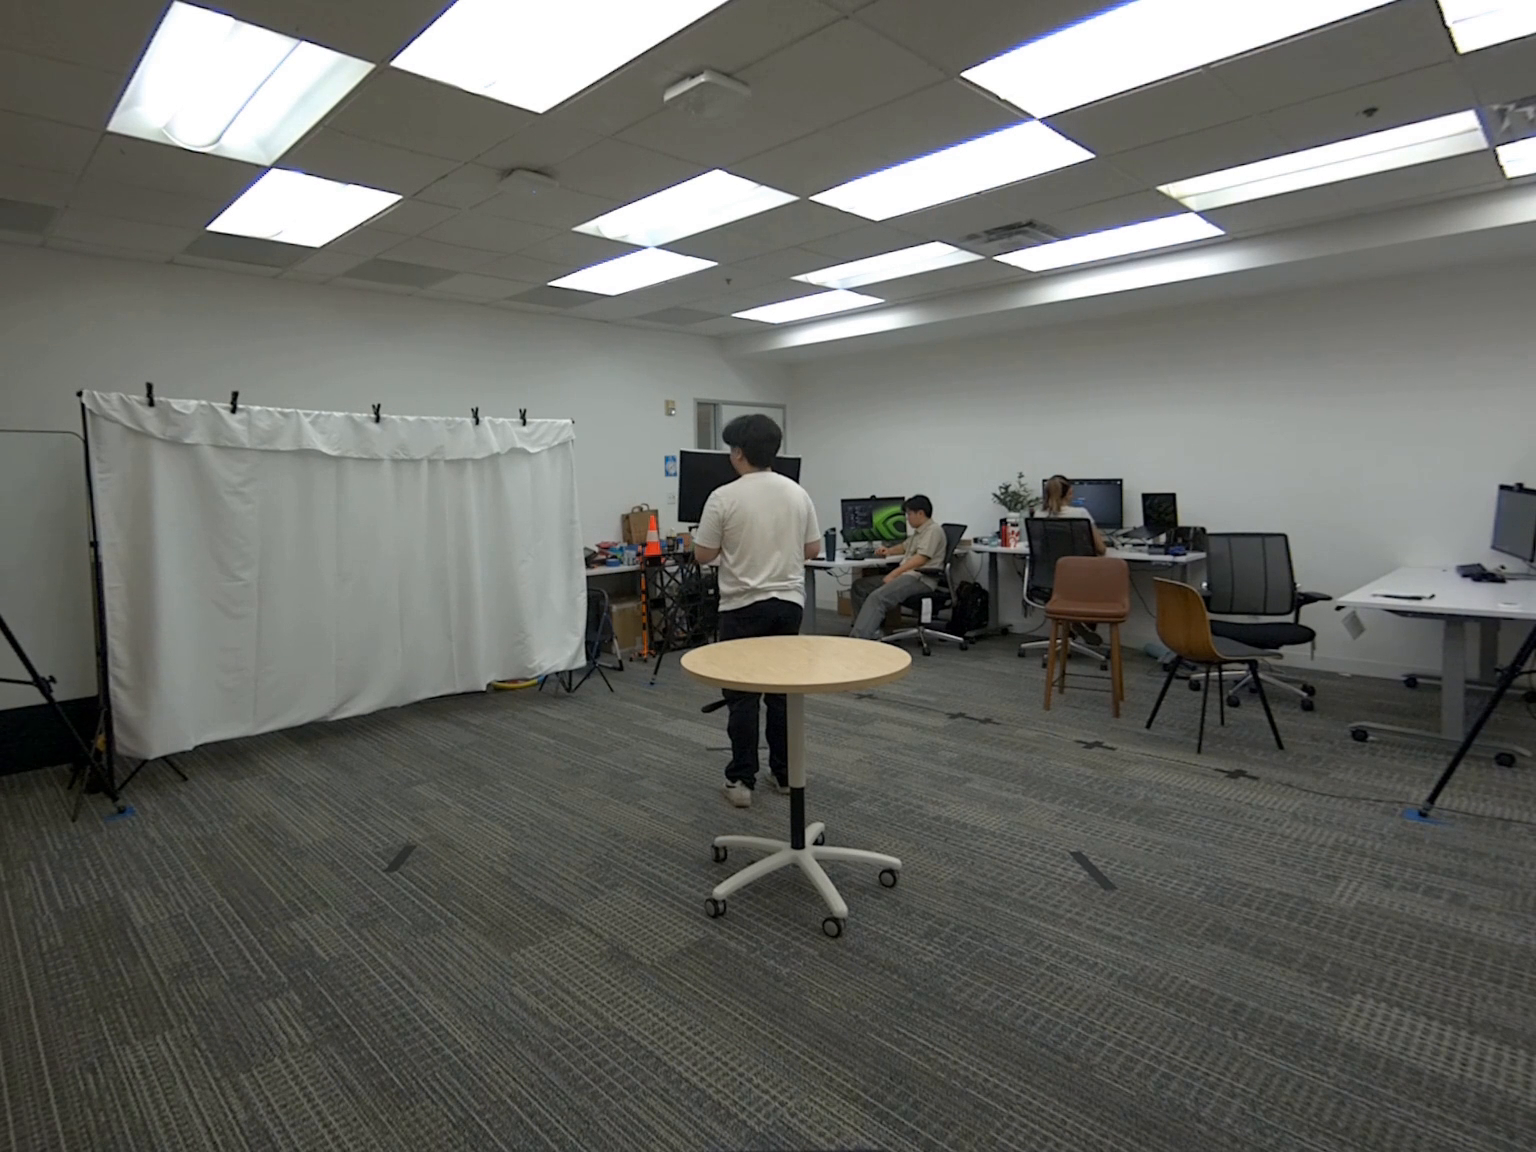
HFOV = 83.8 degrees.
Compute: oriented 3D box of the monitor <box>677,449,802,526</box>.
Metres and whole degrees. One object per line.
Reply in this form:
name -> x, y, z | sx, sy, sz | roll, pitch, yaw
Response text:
monitor -> -0.136, -0.294, 3.932 | 0.565, 0.545, 0.213 | 5, 20, 0
